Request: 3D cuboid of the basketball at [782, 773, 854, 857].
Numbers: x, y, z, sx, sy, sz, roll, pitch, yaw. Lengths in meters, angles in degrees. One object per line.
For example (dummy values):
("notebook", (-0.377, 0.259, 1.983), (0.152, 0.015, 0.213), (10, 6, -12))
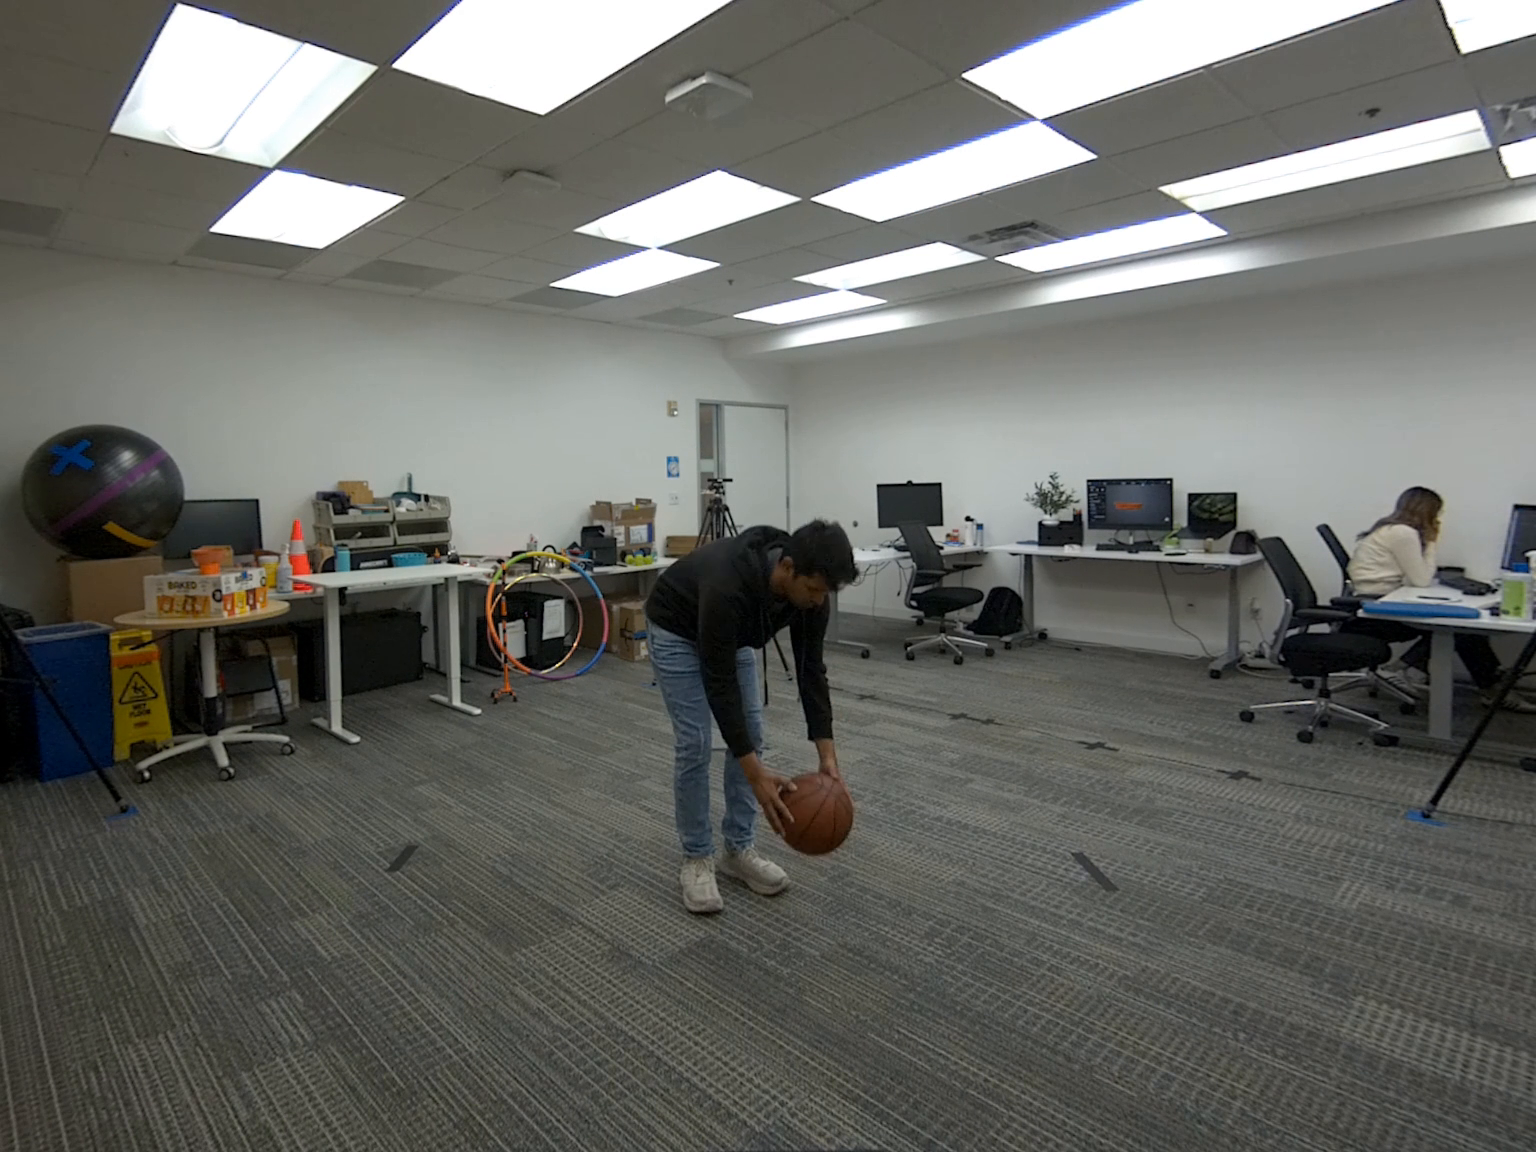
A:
("basketball", (0.143, 0.711, 2.583), (0.236, 0.235, 0.237), (-1, 5, -2))
